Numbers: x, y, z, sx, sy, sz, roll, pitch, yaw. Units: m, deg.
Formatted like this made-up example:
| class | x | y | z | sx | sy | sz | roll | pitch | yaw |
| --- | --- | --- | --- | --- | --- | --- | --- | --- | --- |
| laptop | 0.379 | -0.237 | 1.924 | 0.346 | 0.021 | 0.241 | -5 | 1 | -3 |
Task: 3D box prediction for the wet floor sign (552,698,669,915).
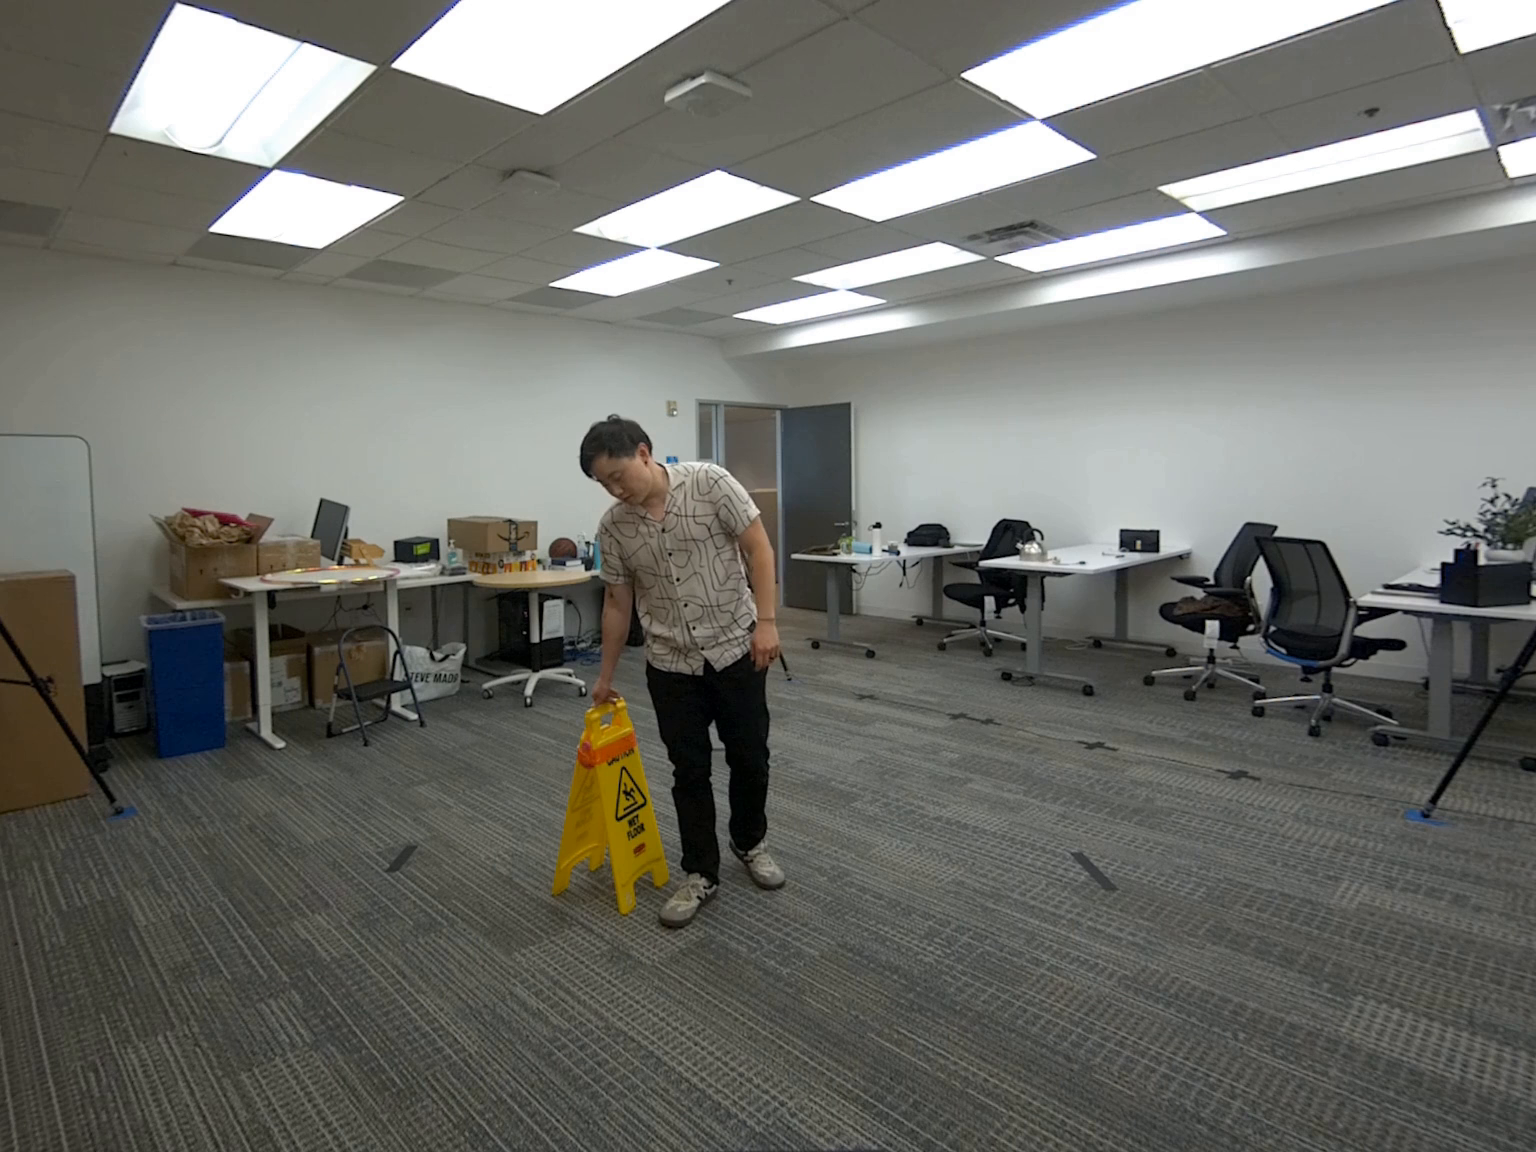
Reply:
| class | x | y | z | sx | sy | sz | roll | pitch | yaw |
| --- | --- | --- | --- | --- | --- | --- | --- | --- | --- |
| wet floor sign | -0.537 | 0.750 | 2.914 | 0.297 | 0.643 | 0.277 | 1 | 6 | 27 |
